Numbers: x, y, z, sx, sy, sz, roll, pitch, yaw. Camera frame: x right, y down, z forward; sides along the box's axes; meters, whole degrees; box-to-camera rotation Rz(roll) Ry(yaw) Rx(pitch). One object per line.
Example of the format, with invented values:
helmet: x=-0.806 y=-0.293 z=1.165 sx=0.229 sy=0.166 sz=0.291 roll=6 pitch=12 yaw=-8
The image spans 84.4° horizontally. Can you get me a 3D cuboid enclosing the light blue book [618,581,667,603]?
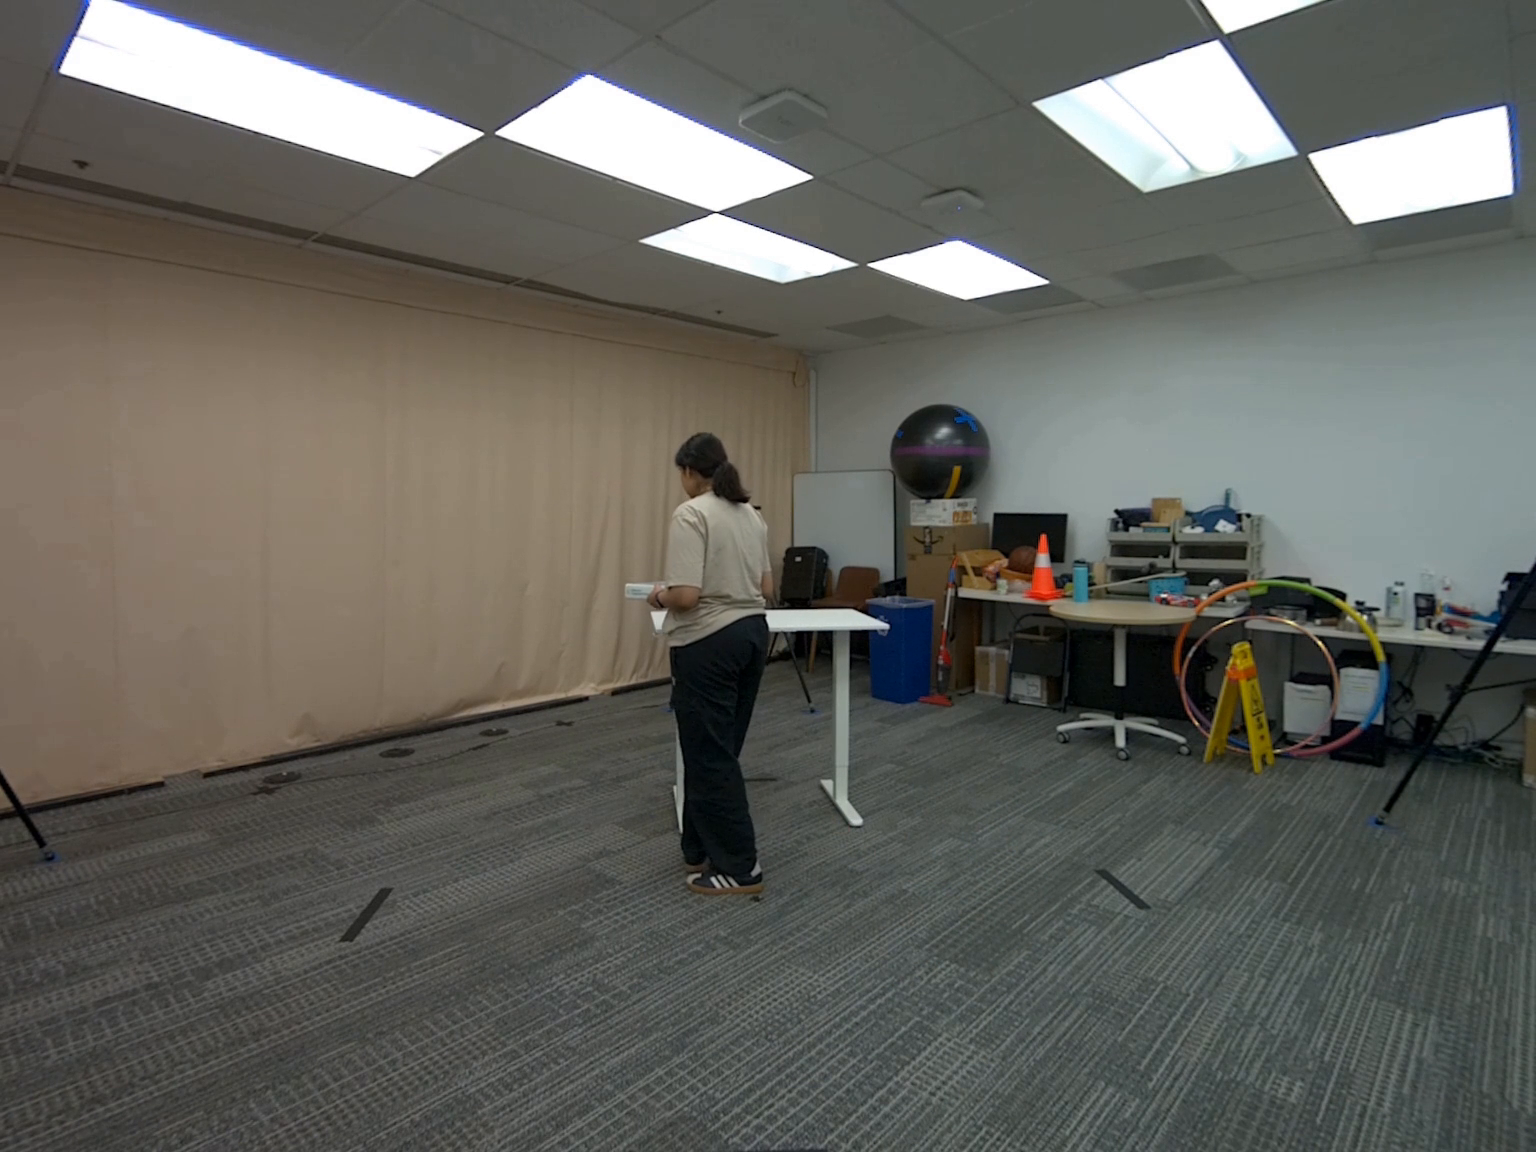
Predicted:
light blue book: x=-0.425 y=0.058 z=3.317 sx=0.253 sy=0.059 sz=0.198 roll=-4 pitch=4 yaw=-43
